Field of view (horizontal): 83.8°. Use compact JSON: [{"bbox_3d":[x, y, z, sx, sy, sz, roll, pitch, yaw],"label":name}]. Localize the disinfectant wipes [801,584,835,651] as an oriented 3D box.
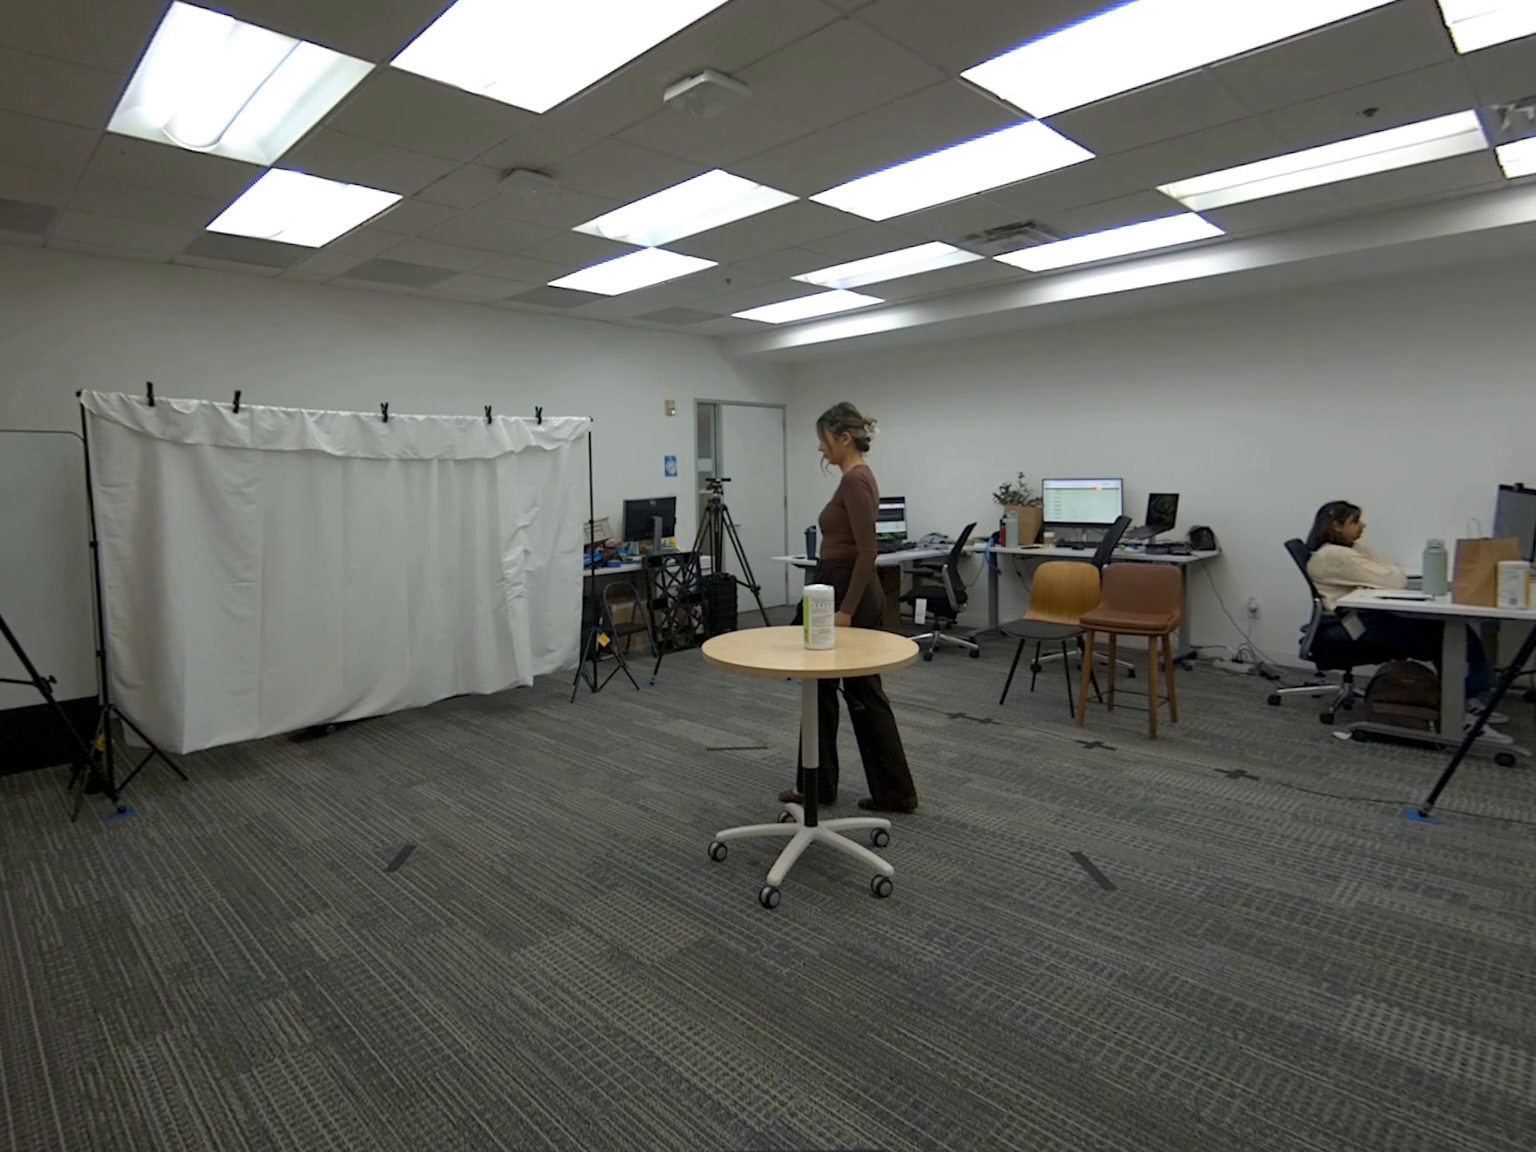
[{"bbox_3d":[0.189,0.147,3.002,0.118,0.216,0.118,-2,5,-2],"label":"disinfectant wipes"}]
